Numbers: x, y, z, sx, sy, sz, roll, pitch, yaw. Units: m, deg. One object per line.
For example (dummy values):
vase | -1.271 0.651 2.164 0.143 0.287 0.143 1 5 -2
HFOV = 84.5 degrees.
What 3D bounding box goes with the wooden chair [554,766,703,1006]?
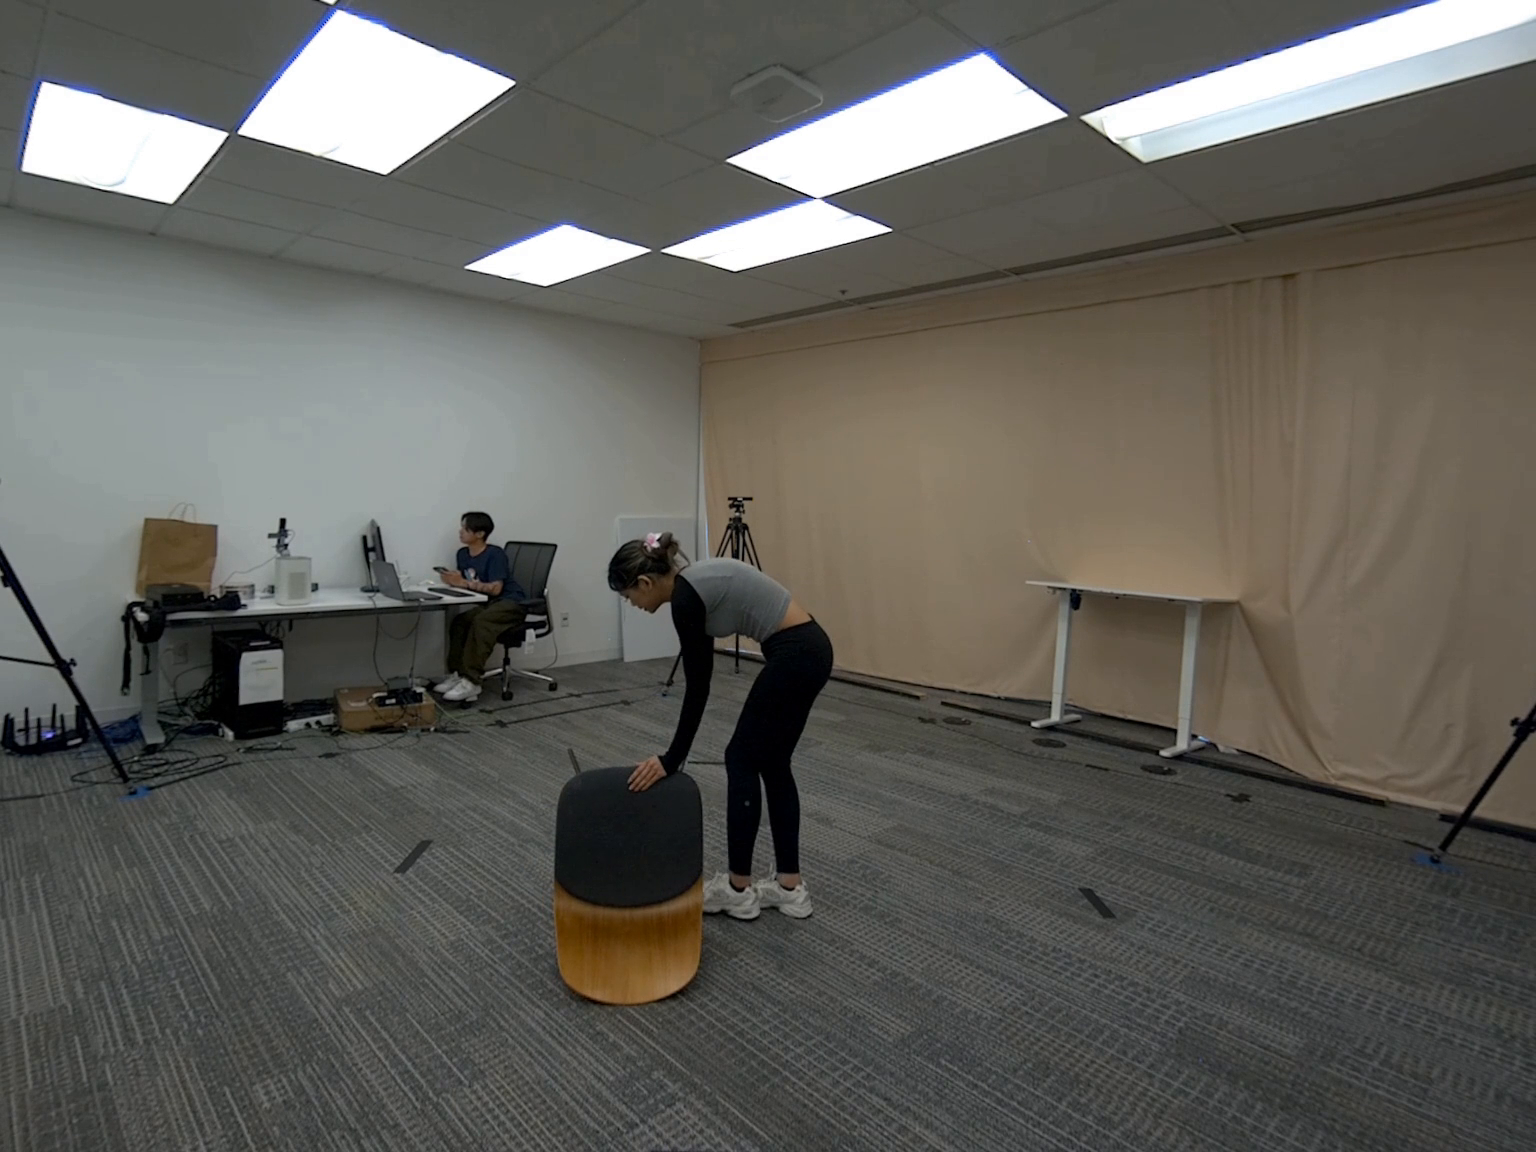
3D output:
wooden chair | -0.455 0.875 2.715 0.475 0.521 0.886 0 6 -9
